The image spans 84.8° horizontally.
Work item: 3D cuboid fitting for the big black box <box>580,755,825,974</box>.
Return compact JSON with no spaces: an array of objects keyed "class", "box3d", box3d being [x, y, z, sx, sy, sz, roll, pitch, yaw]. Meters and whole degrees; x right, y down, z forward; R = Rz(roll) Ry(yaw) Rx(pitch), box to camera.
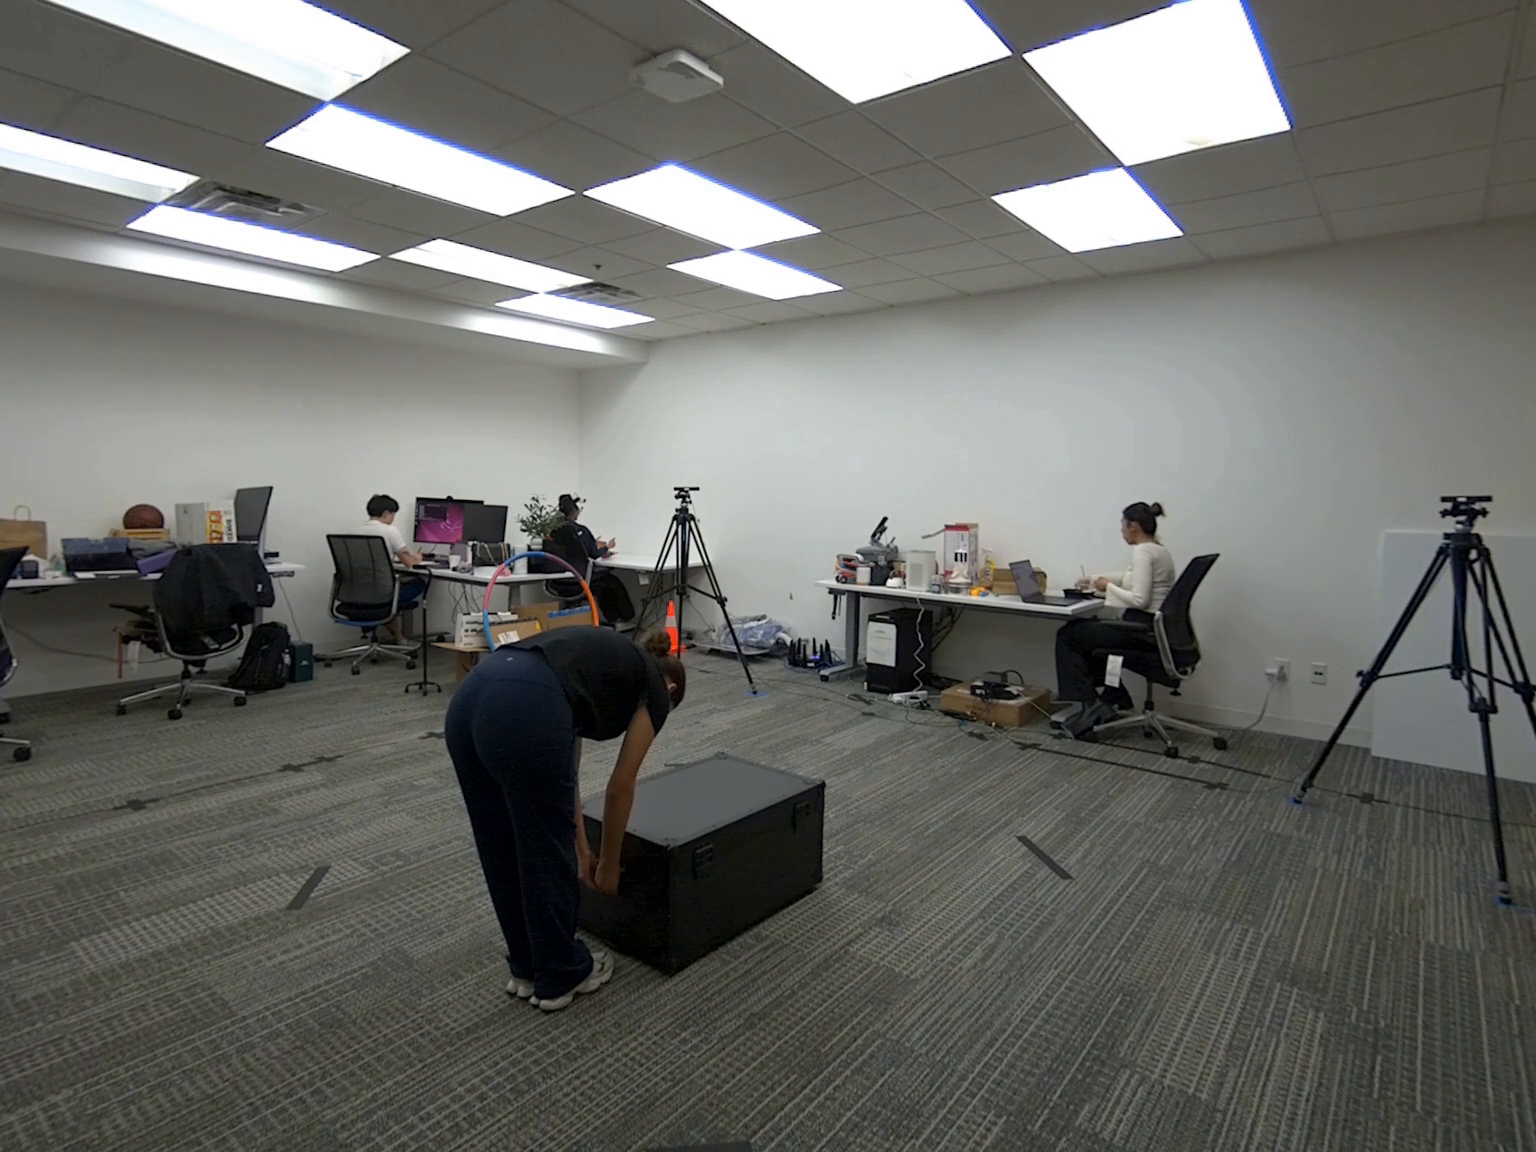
[{"class":"big black box","box3d":[-0.196,0.901,2.864,0.539,0.394,0.837,5,7,39]}]
